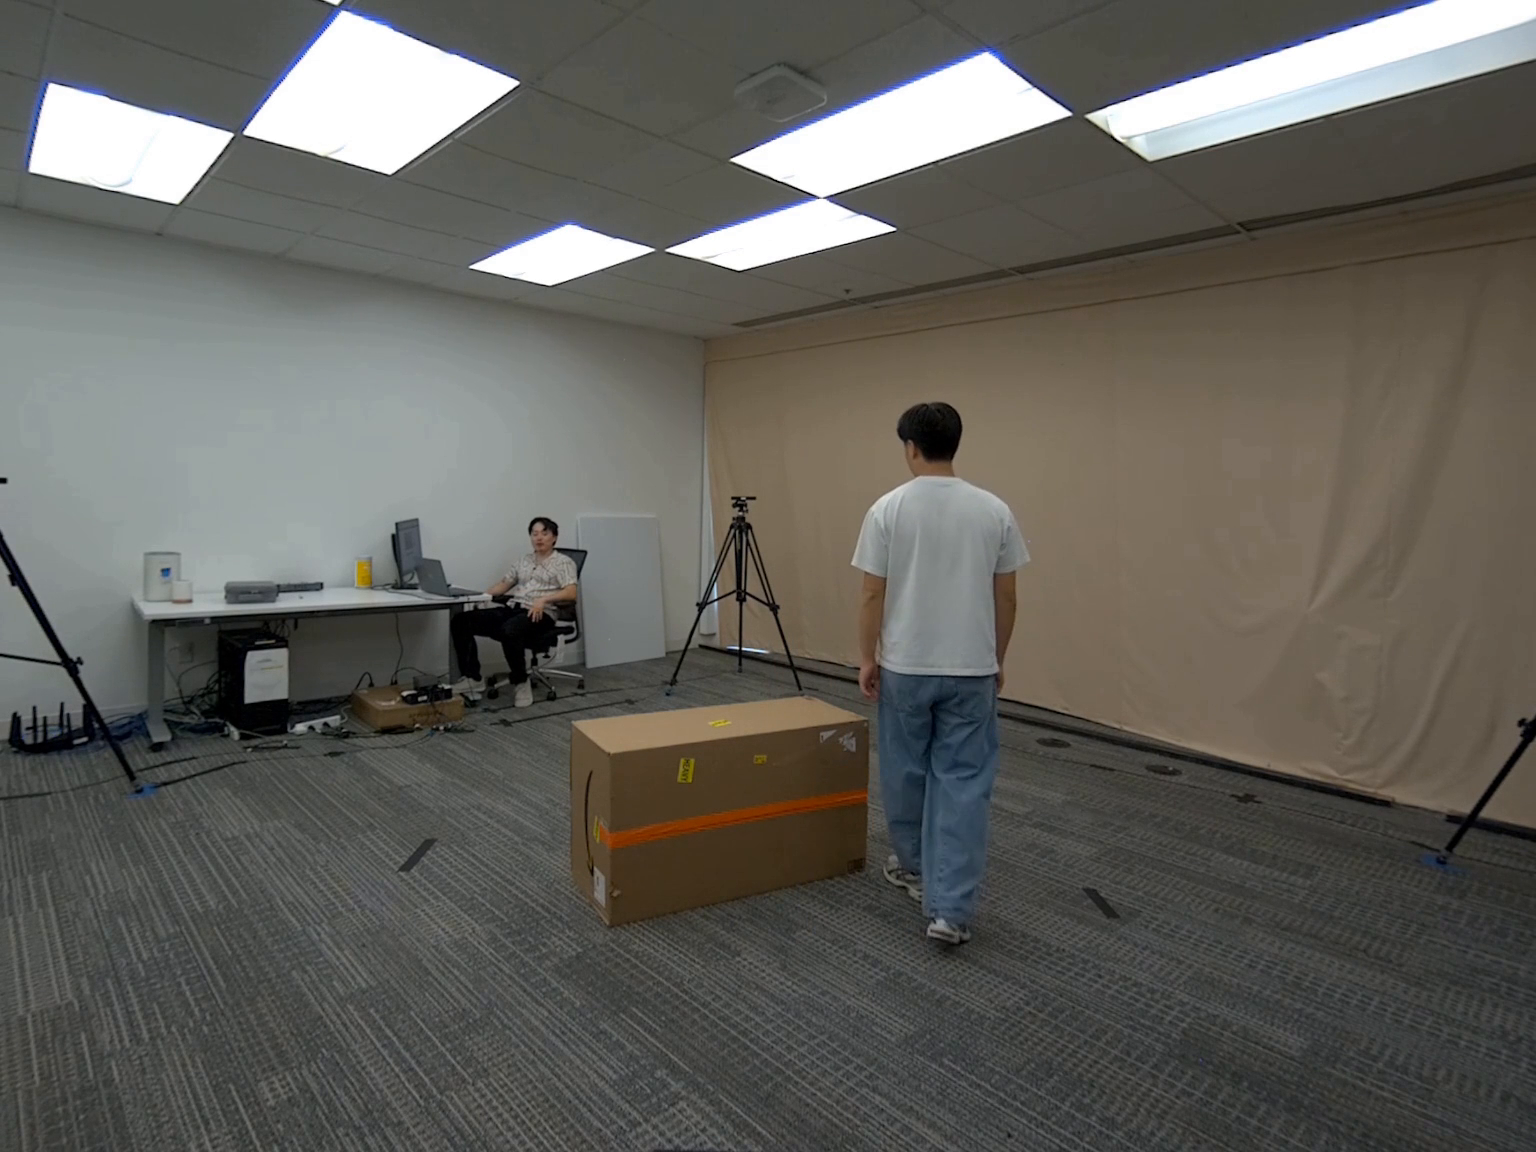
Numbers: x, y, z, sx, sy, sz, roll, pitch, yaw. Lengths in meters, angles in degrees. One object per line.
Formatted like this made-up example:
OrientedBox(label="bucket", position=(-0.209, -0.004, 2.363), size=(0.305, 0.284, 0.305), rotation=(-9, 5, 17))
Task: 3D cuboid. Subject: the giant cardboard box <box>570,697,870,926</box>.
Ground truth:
OrientedBox(label="giant cardboard box", position=(-0.176, 0.817, 3.107), size=(1.006, 0.576, 0.435), rotation=(-1, 4, -28))
